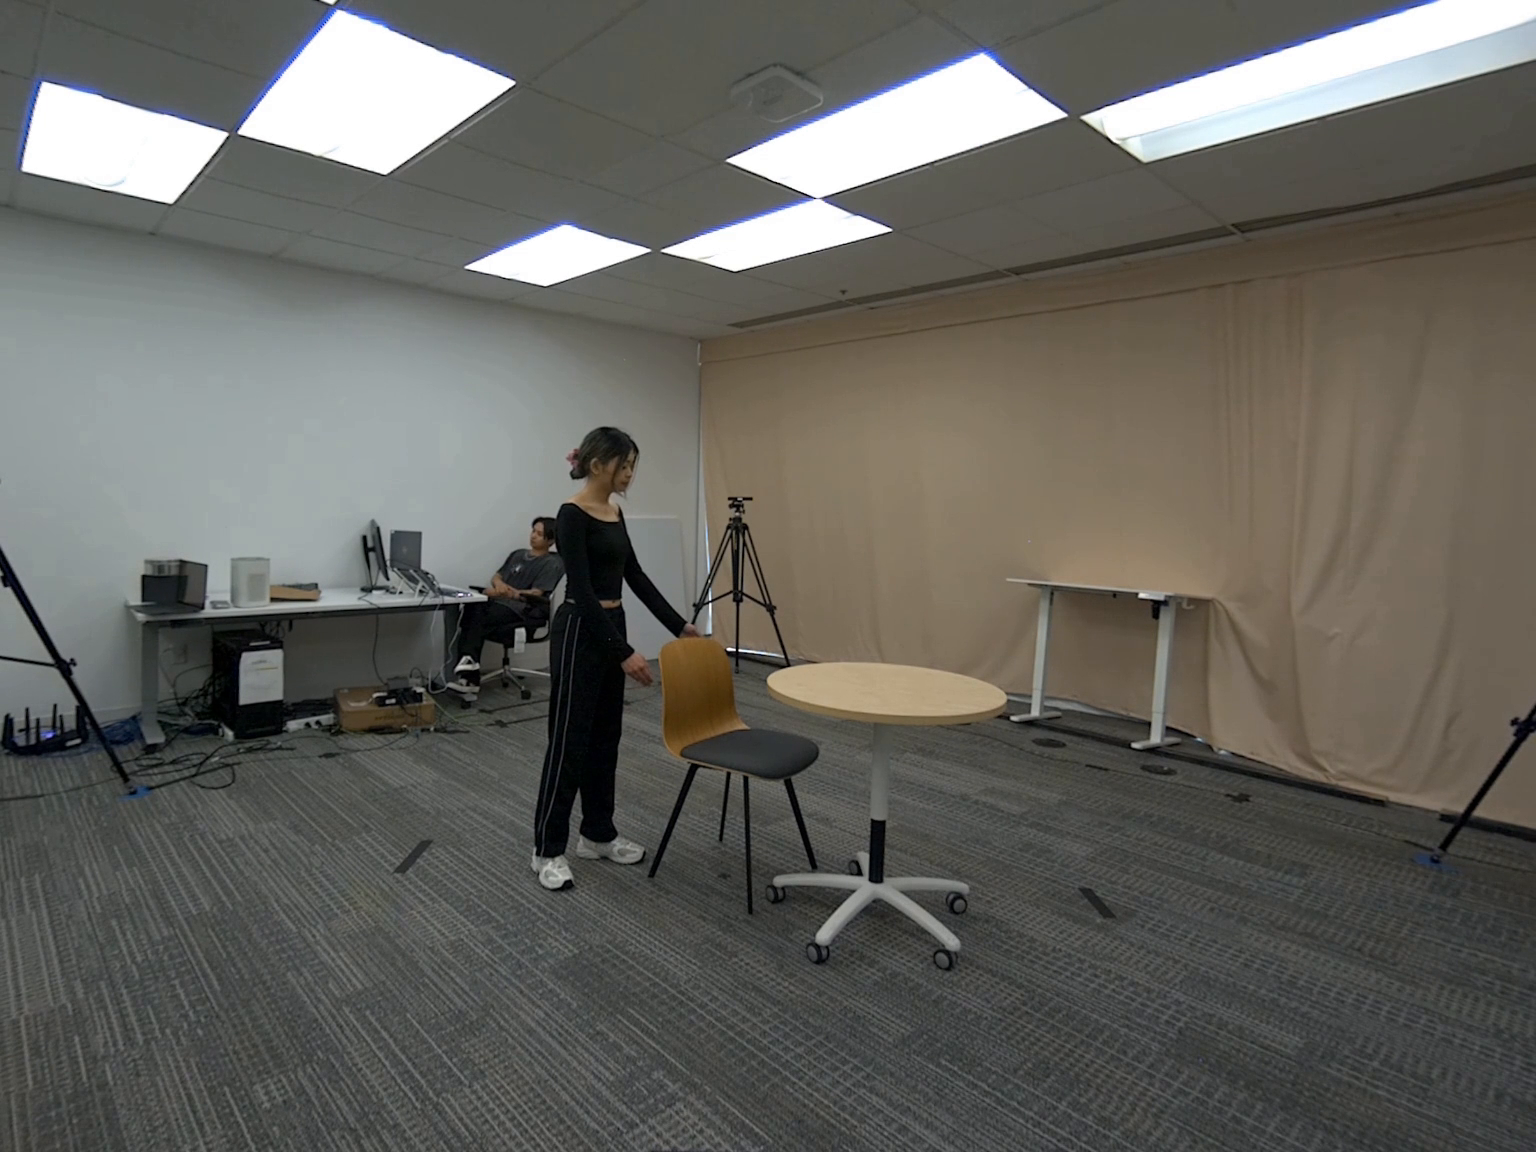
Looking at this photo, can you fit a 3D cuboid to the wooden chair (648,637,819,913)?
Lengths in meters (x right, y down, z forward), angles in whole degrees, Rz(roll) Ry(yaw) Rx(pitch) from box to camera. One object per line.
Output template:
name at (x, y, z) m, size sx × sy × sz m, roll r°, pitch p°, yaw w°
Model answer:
wooden chair at (-0.115, 0.679, 3.096) m, size 0.534 × 0.877 × 0.468 m, roll -1°, pitch 1°, yaw 35°
